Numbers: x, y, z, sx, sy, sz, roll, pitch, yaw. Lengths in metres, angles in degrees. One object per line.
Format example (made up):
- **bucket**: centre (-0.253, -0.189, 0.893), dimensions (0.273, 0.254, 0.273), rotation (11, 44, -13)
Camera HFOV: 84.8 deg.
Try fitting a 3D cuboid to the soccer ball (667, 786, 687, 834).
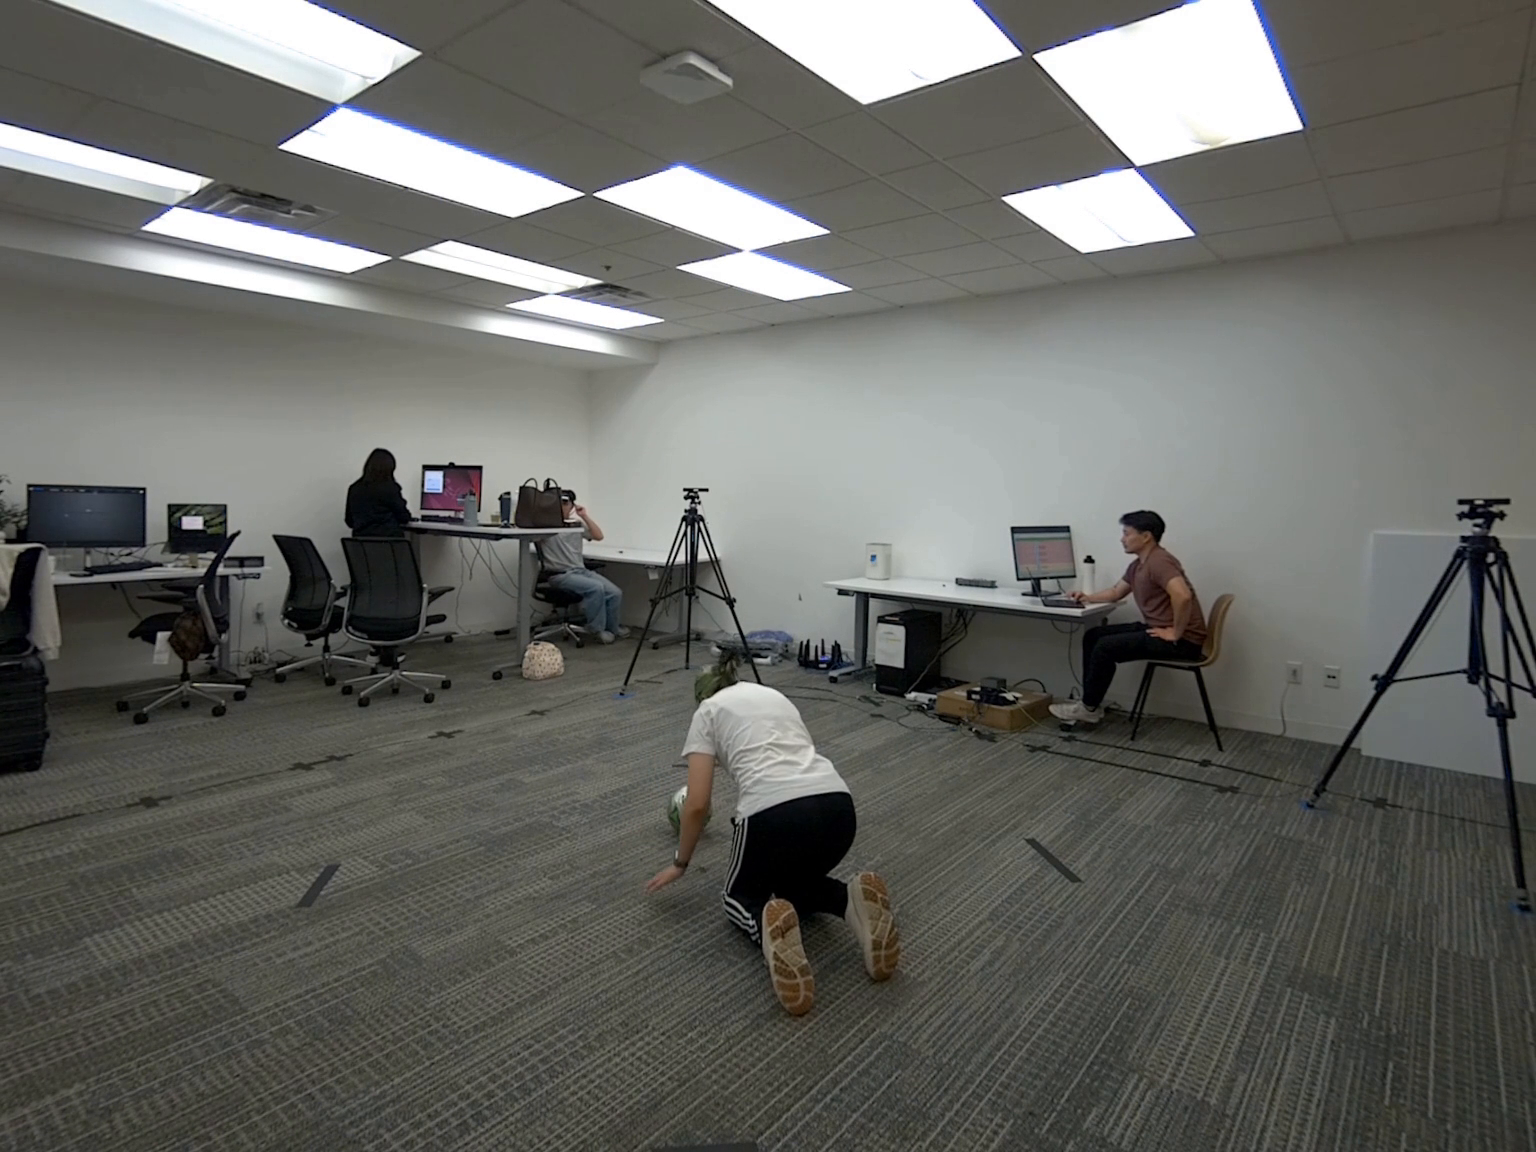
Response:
- **soccer ball**: centre (-0.325, 0.938, 3.437), dimensions (0.187, 0.187, 0.188), rotation (1, 4, -2)
